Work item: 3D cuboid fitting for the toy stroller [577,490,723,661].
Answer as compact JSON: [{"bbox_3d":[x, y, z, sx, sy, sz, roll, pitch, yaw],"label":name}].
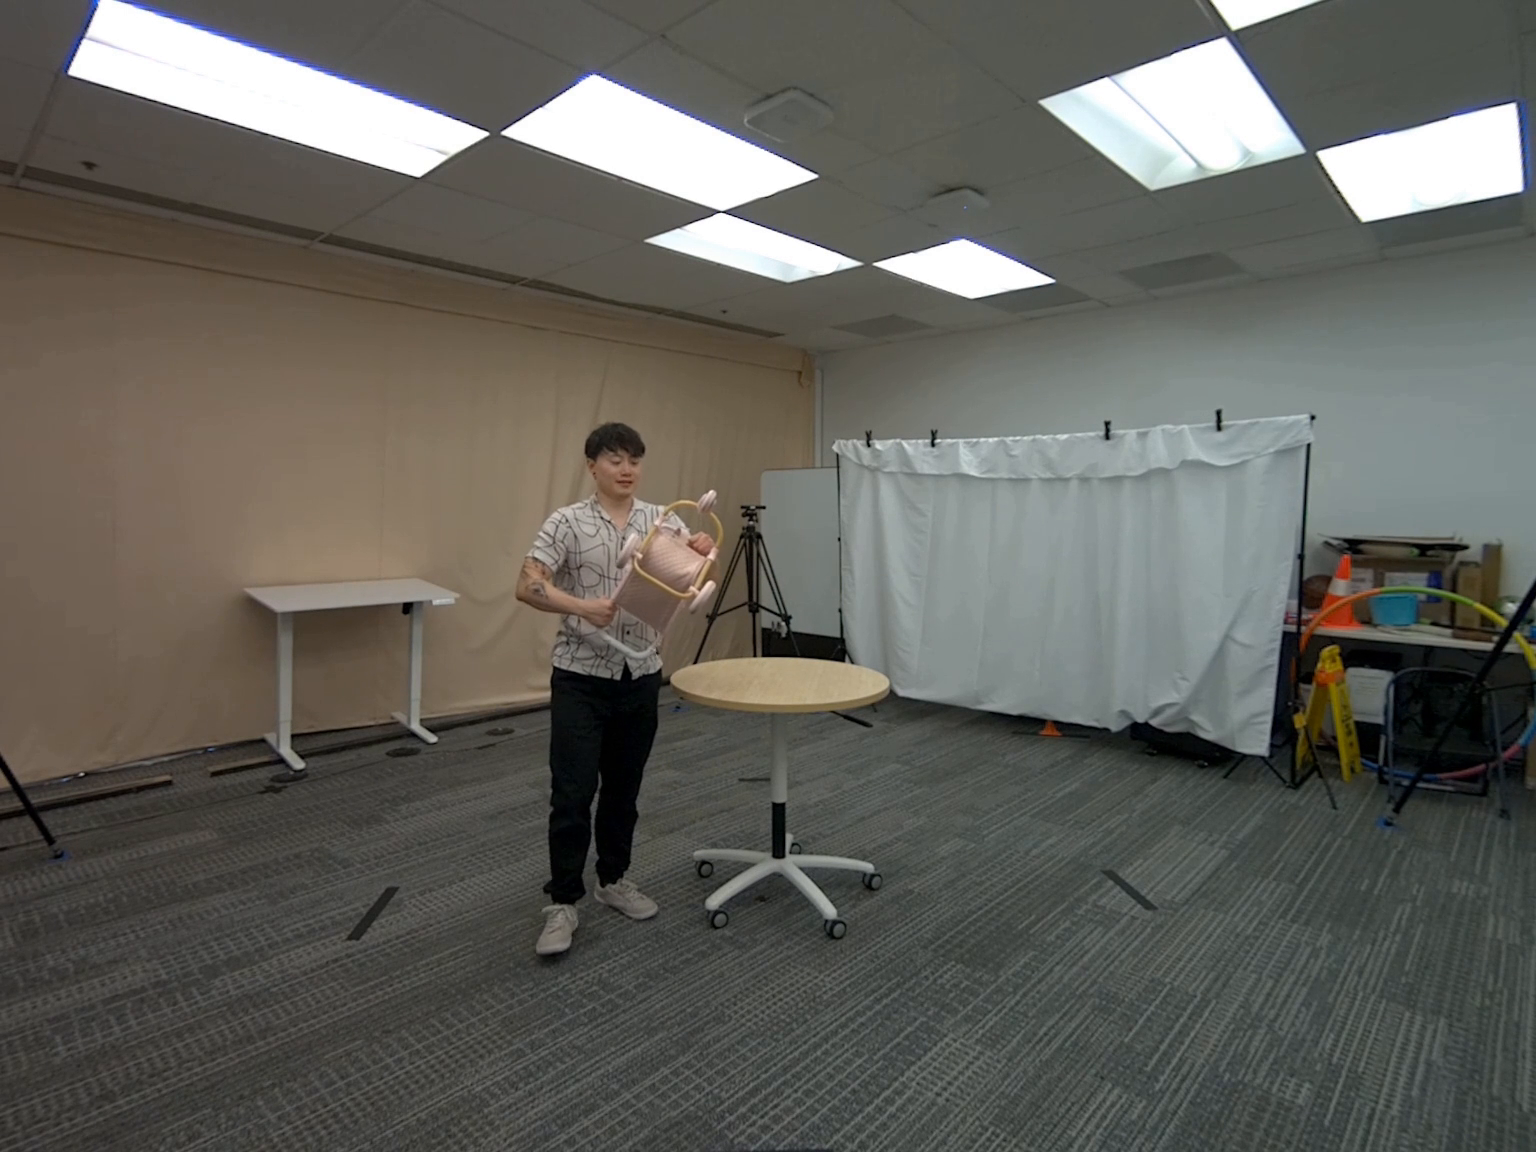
[{"bbox_3d":[-0.313,-0.009,2.537,0.280,0.342,0.537,29,-37,-7],"label":"toy stroller"}]
